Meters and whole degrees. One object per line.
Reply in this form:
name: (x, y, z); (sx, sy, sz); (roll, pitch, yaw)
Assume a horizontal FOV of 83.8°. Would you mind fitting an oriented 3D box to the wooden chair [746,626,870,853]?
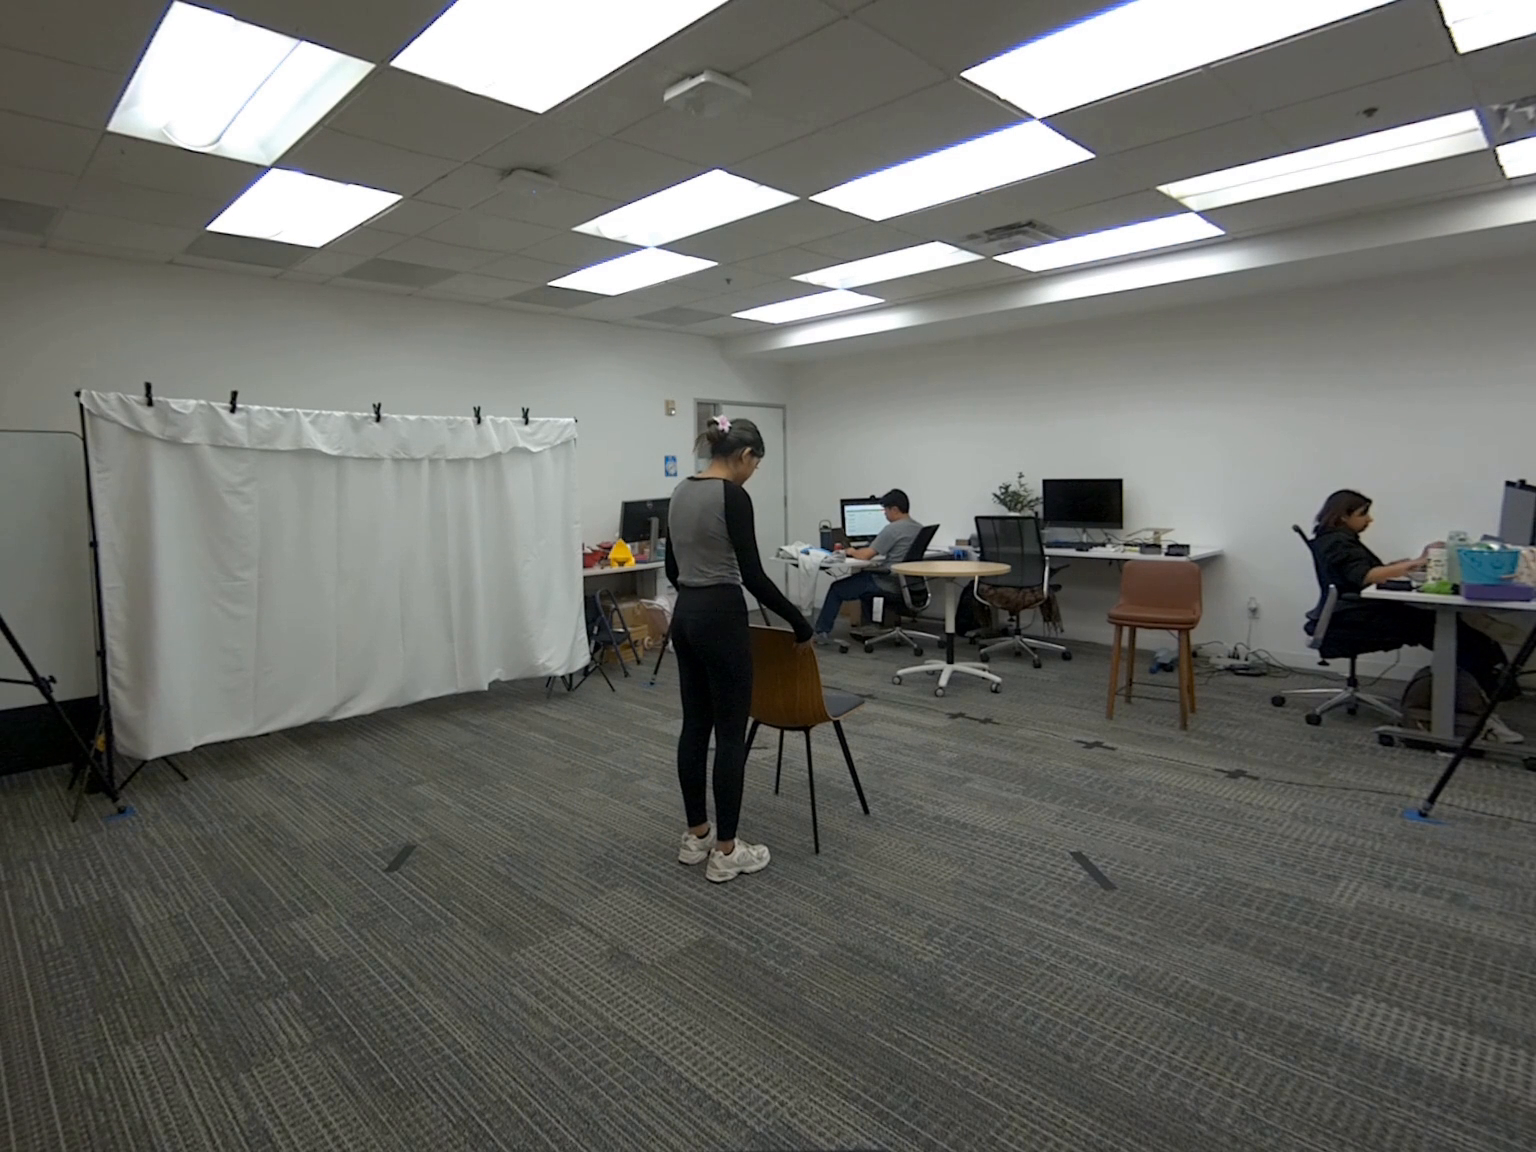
wooden chair: (0.108, 0.571, 3.456); (0.491, 0.871, 0.513); (1, 10, 33)
